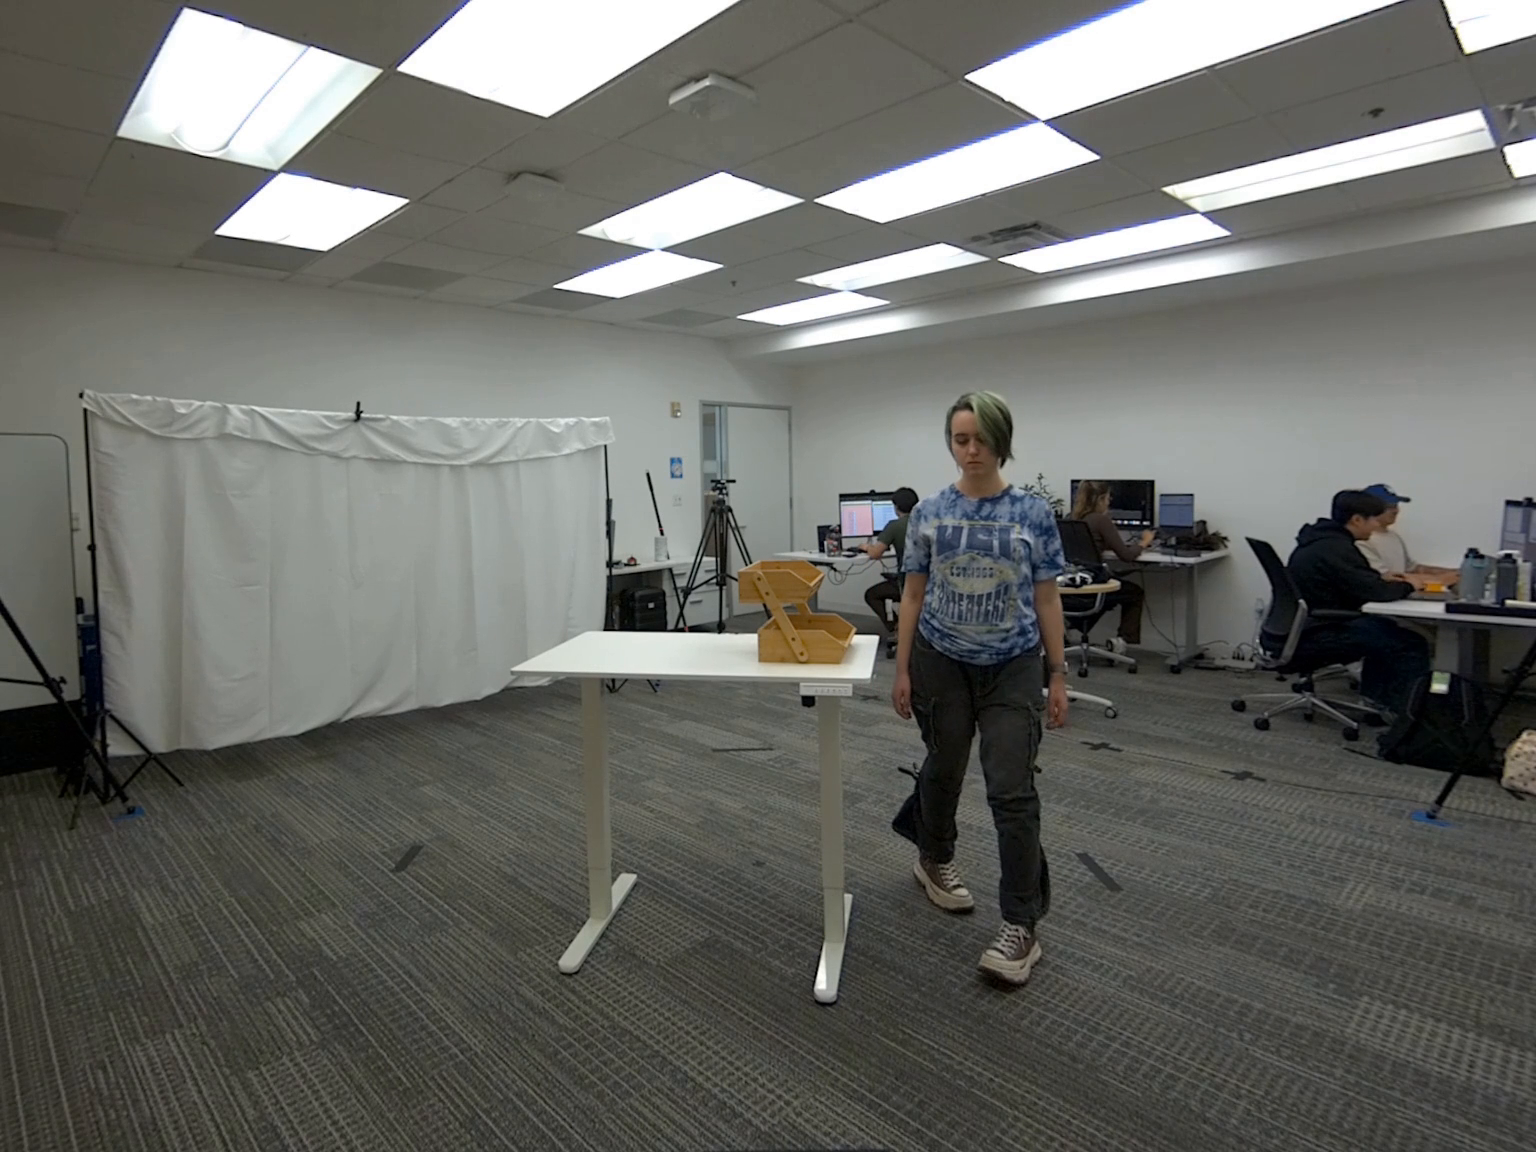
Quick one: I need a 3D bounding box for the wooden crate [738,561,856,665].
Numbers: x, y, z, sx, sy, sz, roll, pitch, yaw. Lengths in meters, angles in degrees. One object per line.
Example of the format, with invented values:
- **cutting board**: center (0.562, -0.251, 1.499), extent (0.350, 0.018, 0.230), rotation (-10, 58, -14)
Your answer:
- **wooden crate**: center (0.108, 0.097, 2.514), extent (0.306, 0.272, 0.322), rotation (-1, 5, 12)
